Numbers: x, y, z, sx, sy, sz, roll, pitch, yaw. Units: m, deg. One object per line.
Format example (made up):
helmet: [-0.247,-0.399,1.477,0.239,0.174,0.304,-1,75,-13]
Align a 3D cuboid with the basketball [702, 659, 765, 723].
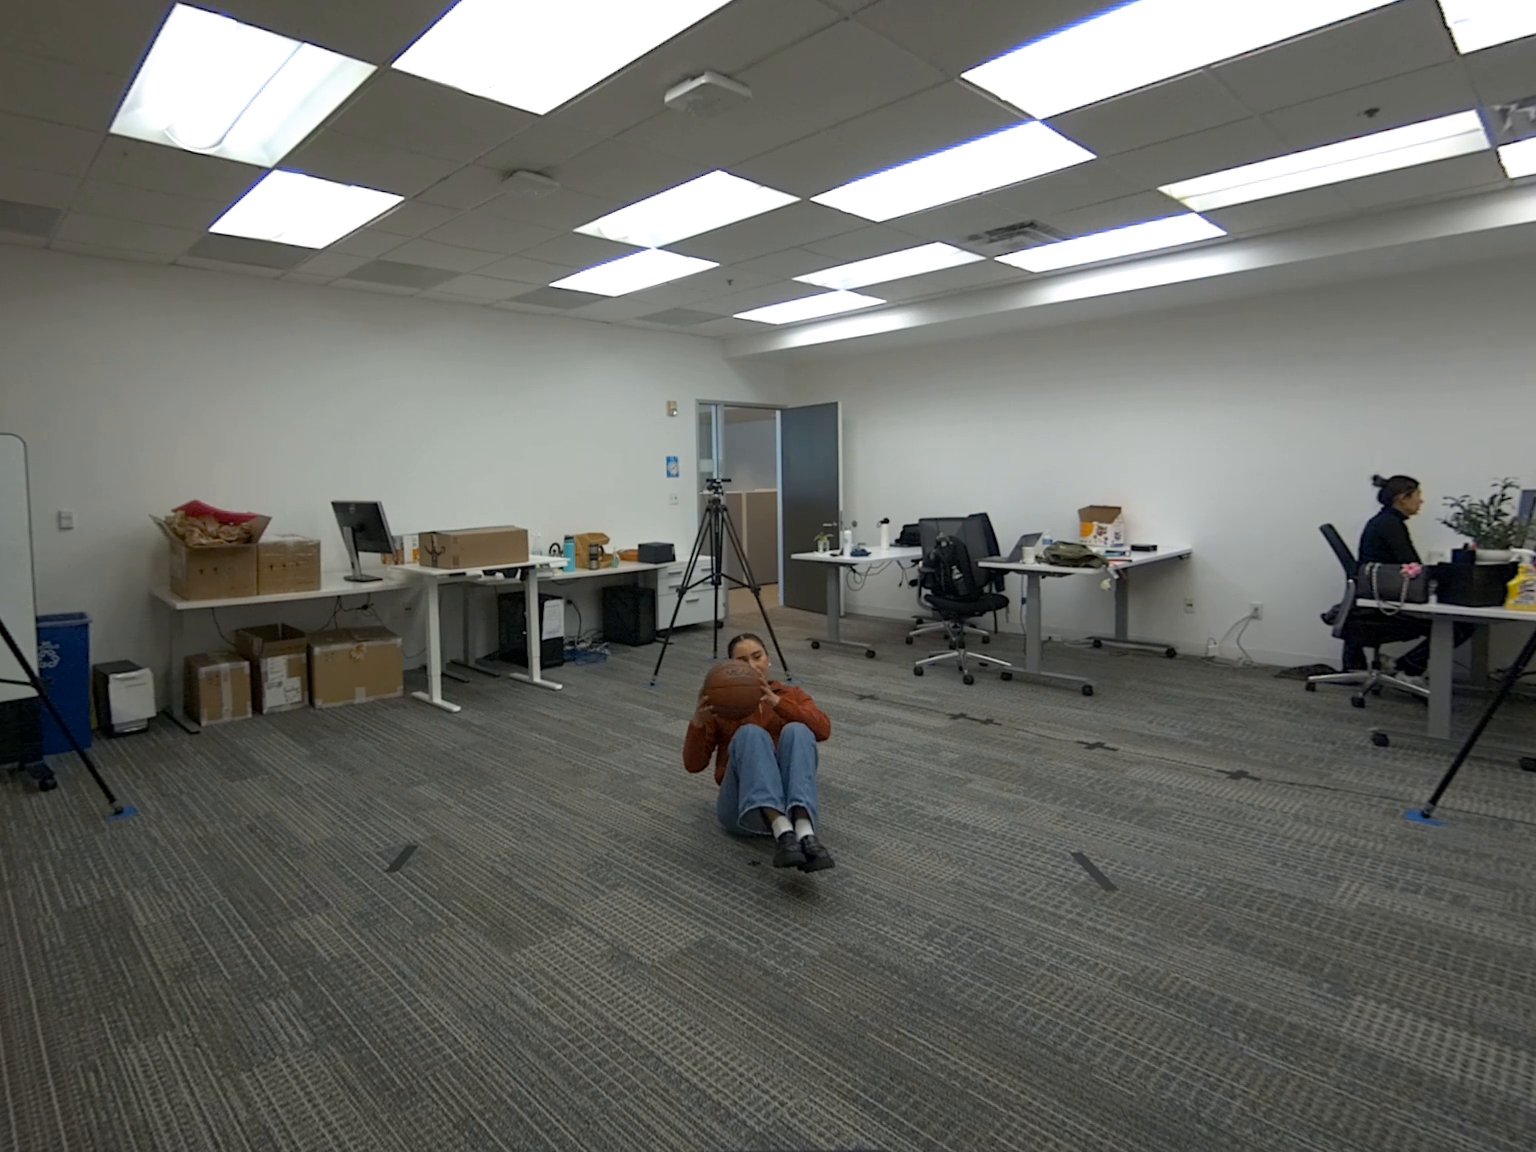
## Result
basketball: [-0.130,0.461,3.349,0.236,0.235,0.237,-1,5,-2]
